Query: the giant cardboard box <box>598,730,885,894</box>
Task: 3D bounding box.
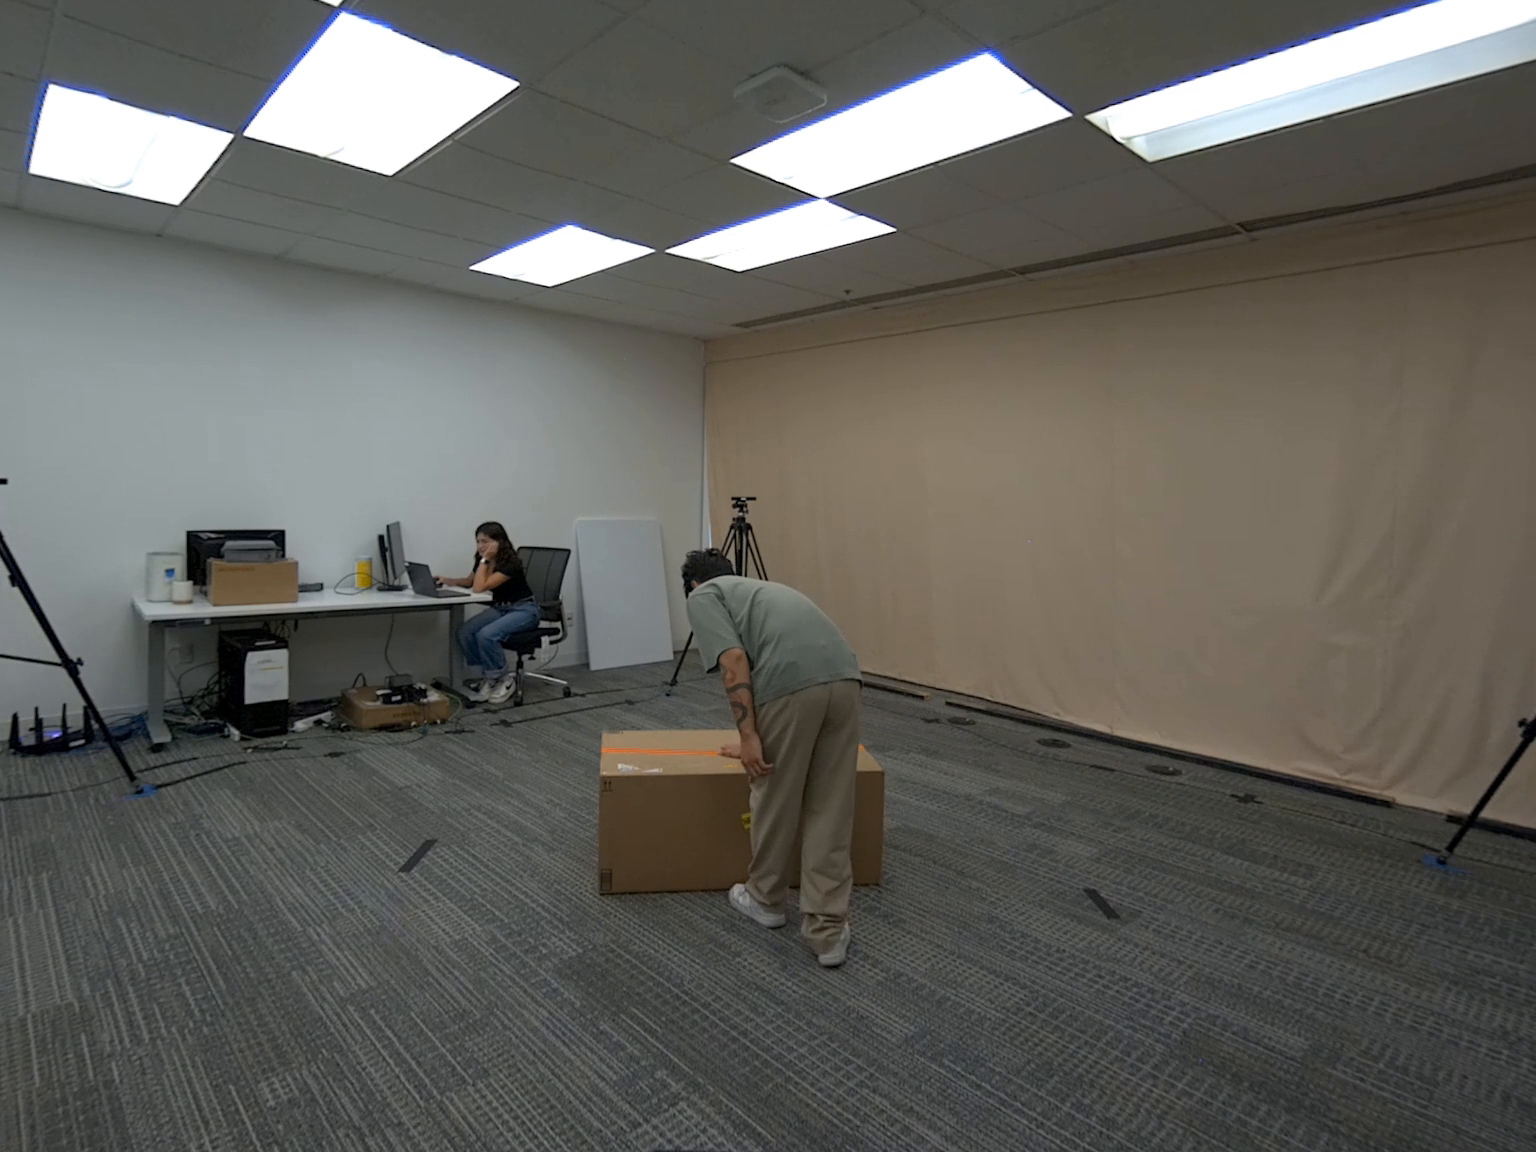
[{"bbox_3d":[-0.142,0.874,3.267,1.019,0.425,0.583,1,5,-8],"label":"giant cardboard box"}]
